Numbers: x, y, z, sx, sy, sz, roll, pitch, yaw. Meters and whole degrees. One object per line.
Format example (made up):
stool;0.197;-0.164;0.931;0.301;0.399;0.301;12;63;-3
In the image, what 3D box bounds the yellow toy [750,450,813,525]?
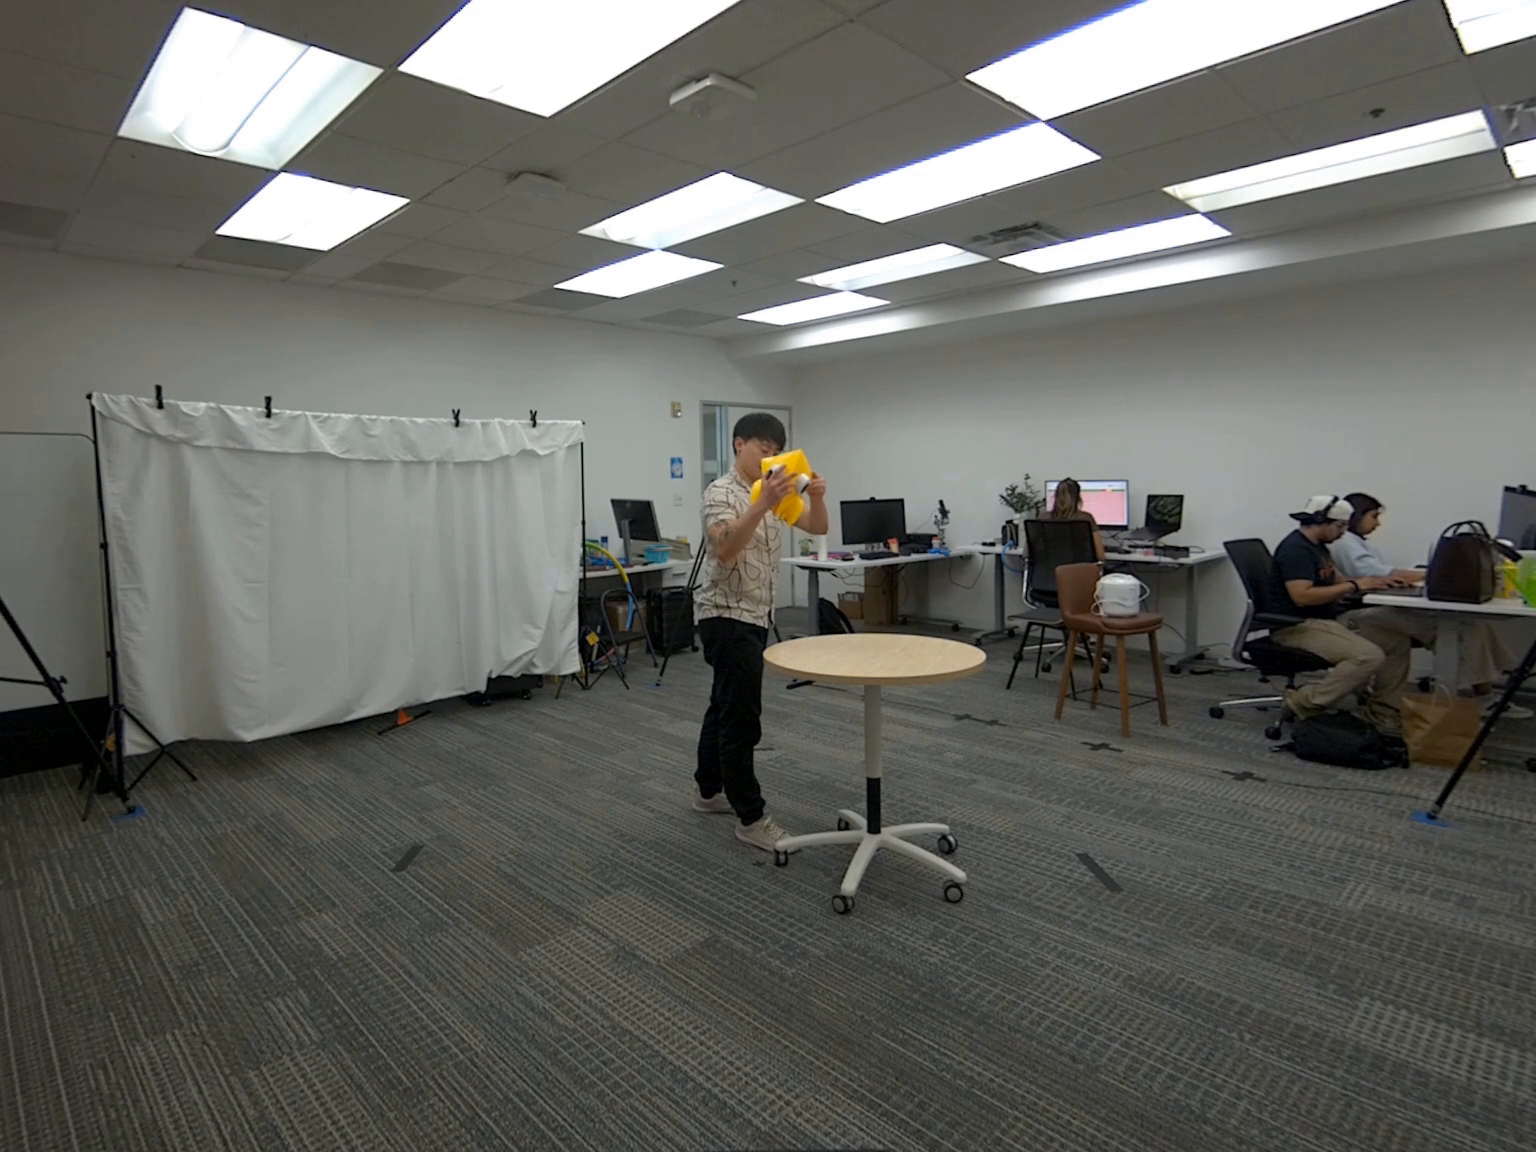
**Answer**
yellow toy;0.064;-0.329;3.023;0.203;0.196;0.228;20;-35;-7
